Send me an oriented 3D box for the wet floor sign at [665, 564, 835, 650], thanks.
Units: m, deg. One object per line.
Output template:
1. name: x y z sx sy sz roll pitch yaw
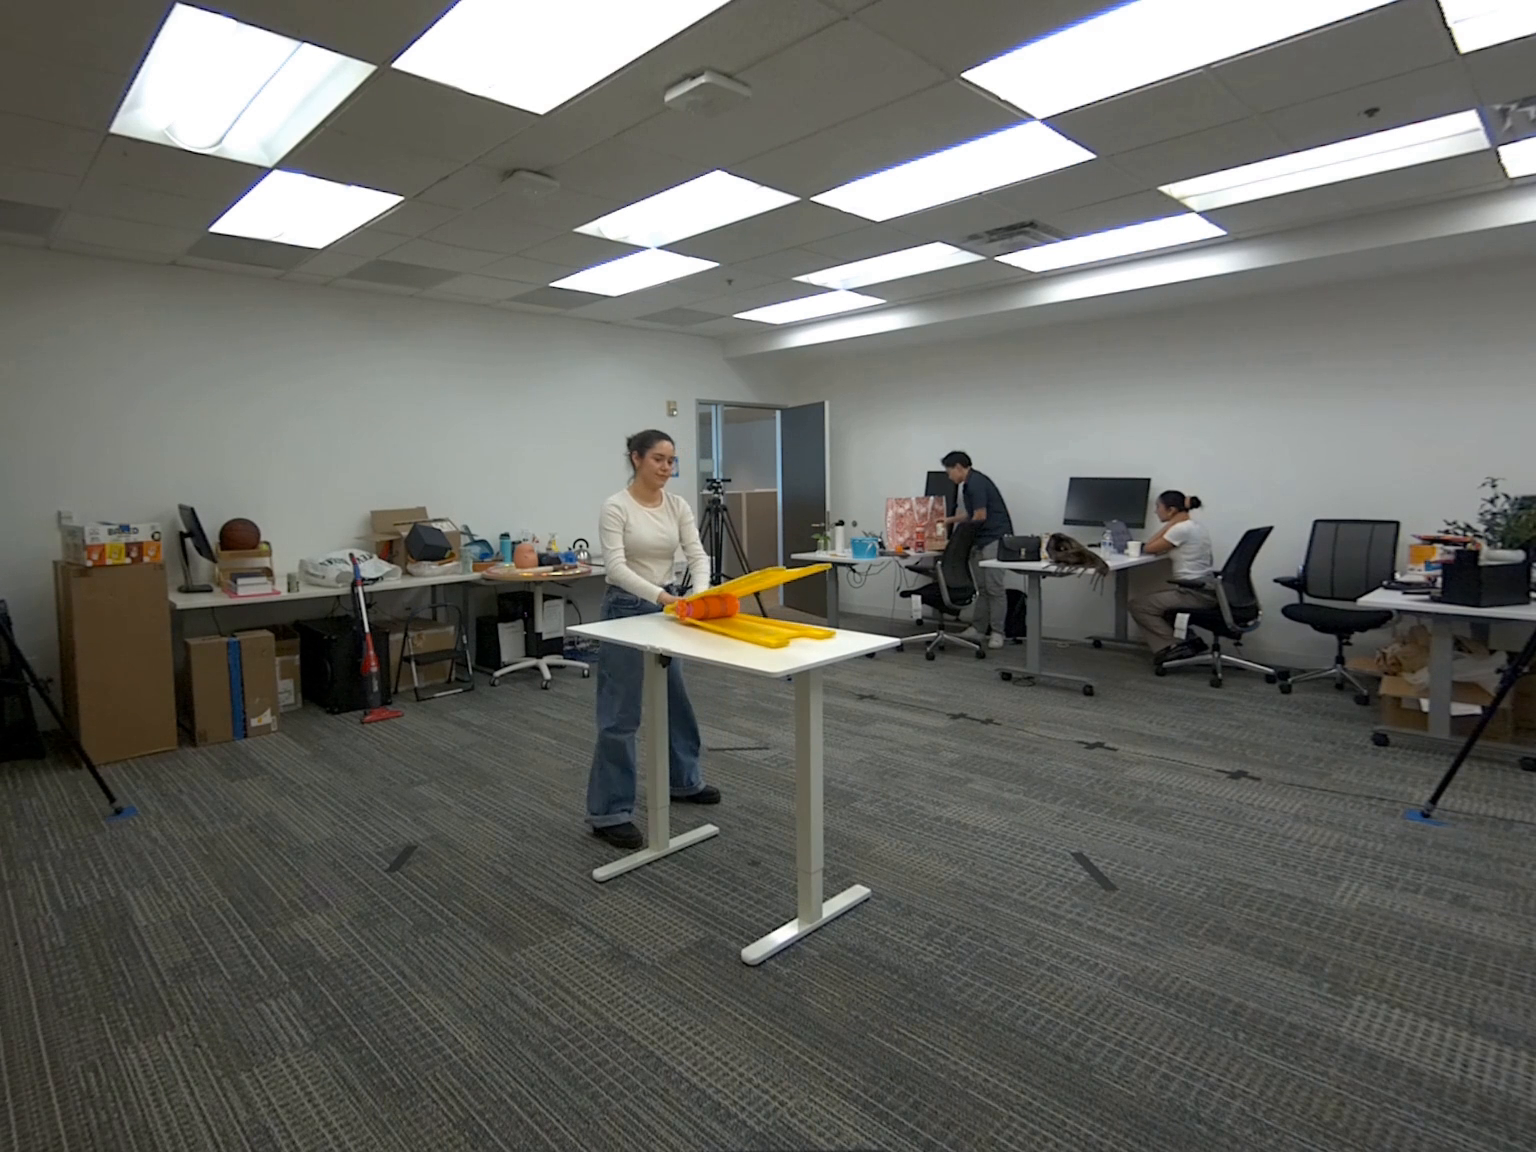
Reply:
1. wet floor sign: -0.101 0.114 2.940 0.275 0.290 0.662 -3 -1 -39
